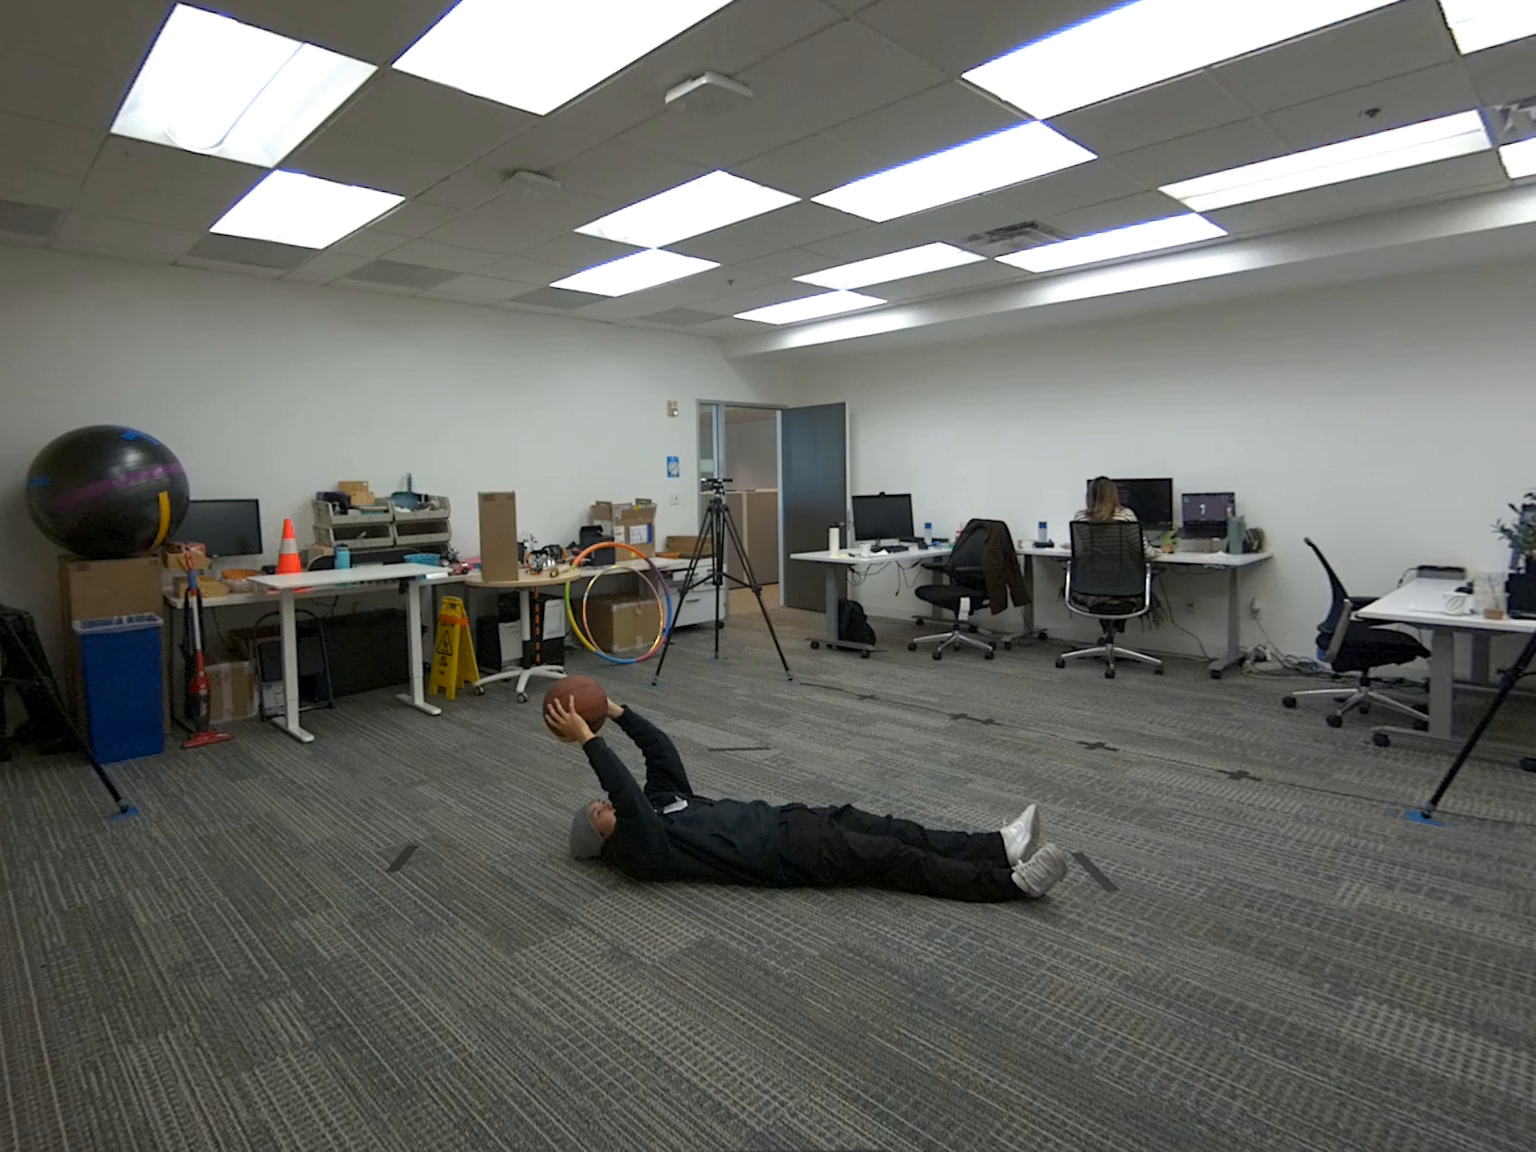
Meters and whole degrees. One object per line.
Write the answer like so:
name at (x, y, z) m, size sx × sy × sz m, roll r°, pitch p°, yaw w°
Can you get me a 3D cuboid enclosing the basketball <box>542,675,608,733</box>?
basketball at (-0.705, 0.485, 3.147) m, size 0.236 × 0.235 × 0.237 m, roll -1°, pitch 5°, yaw -2°
